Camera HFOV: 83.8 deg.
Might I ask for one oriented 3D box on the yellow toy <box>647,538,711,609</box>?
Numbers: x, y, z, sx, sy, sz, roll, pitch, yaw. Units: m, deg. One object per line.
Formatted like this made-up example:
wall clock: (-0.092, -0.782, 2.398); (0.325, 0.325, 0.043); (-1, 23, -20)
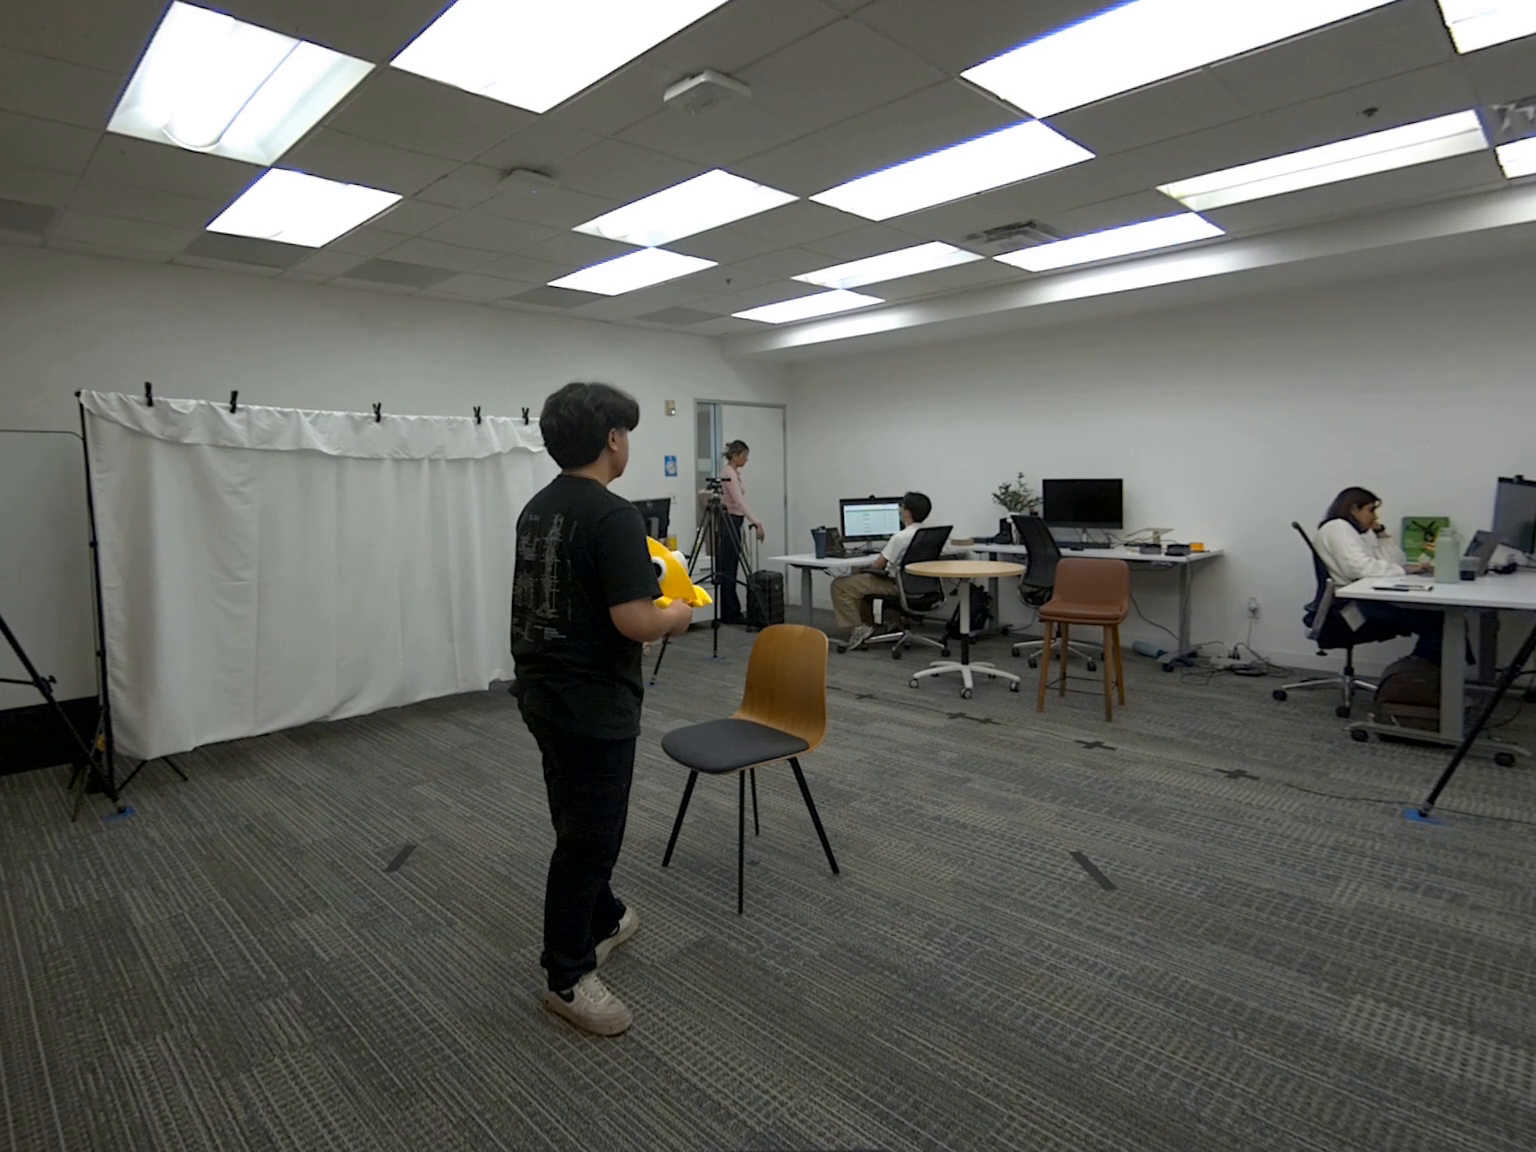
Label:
yellow toy: (-0.291, -0.013, 2.478); (0.198, 0.230, 0.200); (-7, 4, 38)
